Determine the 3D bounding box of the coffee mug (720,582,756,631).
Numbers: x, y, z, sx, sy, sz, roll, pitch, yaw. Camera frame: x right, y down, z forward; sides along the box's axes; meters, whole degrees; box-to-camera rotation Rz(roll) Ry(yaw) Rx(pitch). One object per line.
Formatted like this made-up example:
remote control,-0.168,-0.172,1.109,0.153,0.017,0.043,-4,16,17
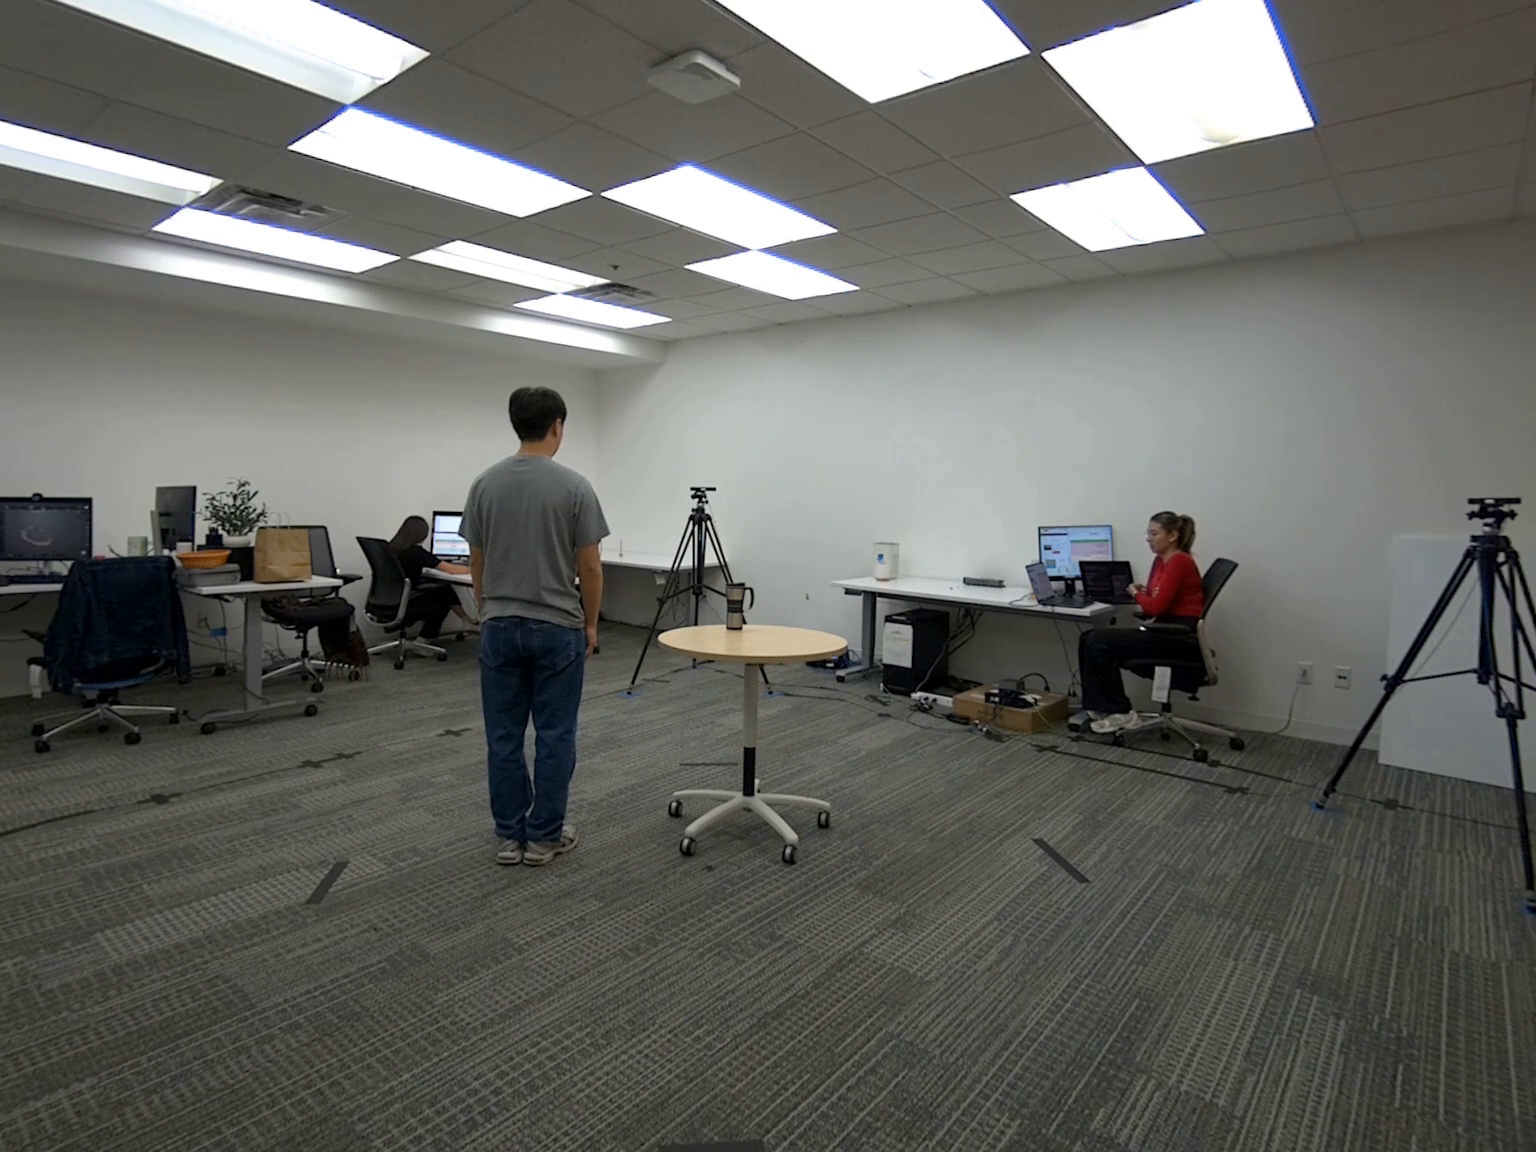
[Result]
coffee mug,-0.133,0.129,3.683,0.125,0.203,0.086,-1,0,23
